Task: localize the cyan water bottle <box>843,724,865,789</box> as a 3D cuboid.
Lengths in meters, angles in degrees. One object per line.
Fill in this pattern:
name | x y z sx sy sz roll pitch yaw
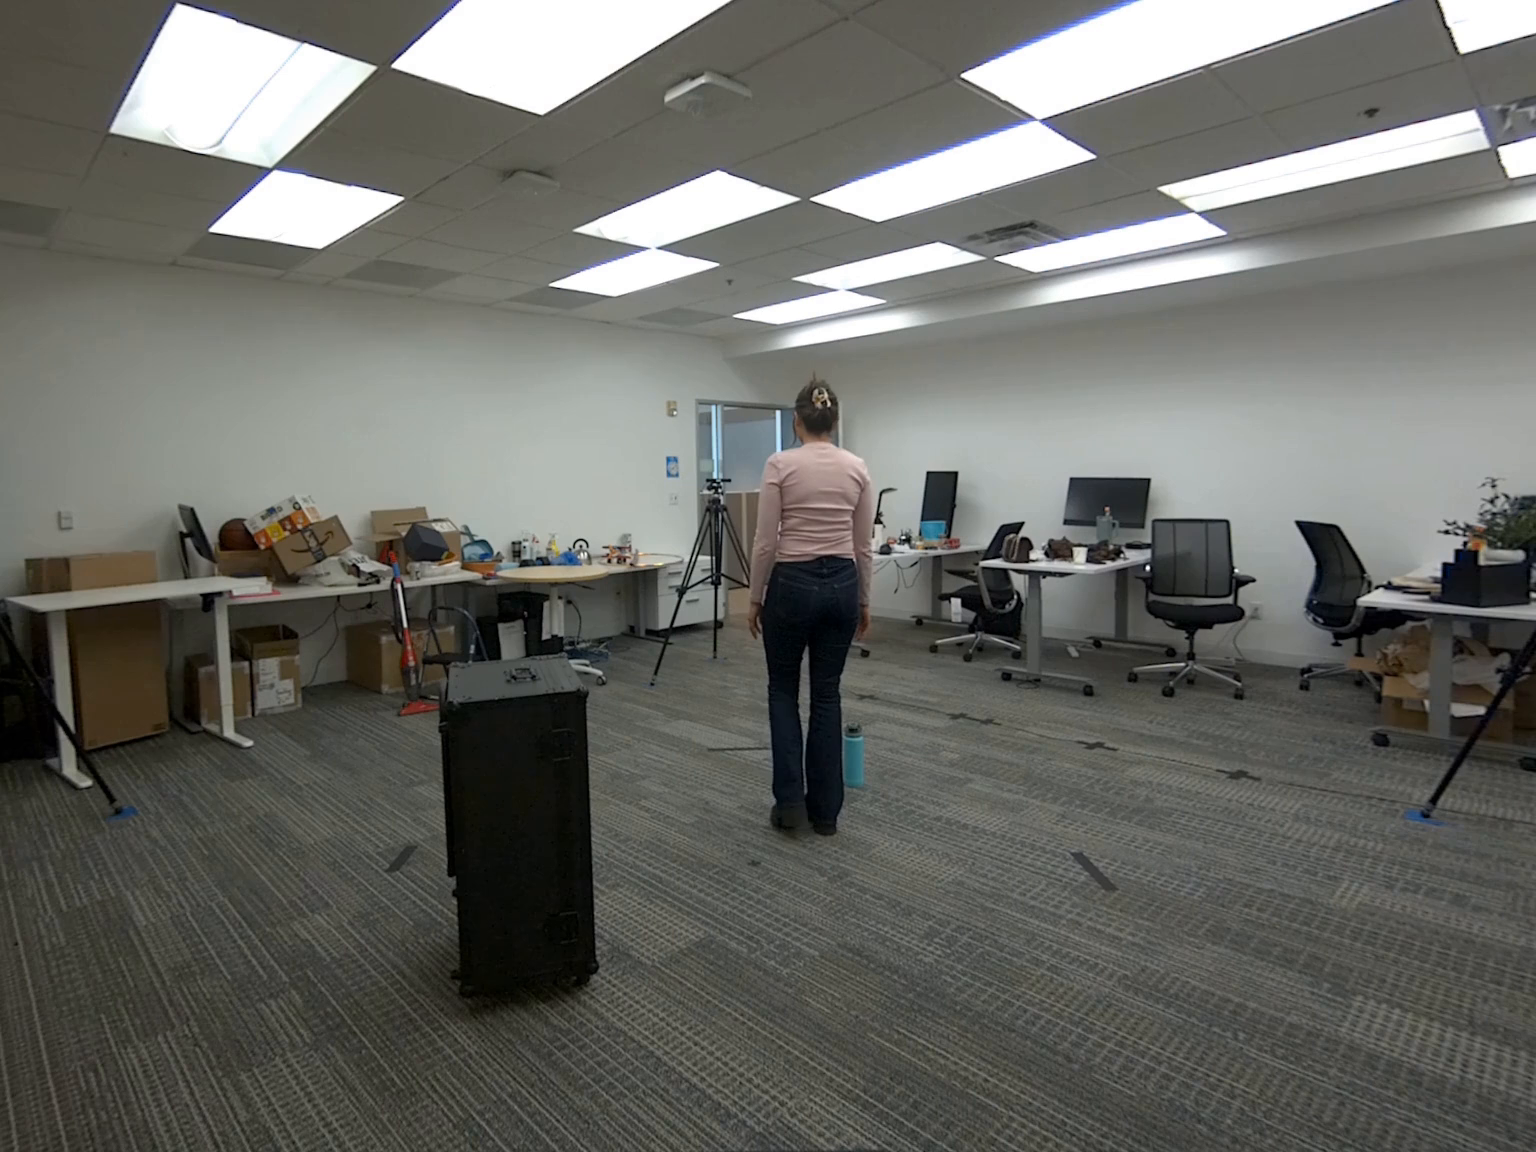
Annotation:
cyan water bottle | 0.391 0.811 3.891 0.092 0.283 0.092 -1 3 -2
